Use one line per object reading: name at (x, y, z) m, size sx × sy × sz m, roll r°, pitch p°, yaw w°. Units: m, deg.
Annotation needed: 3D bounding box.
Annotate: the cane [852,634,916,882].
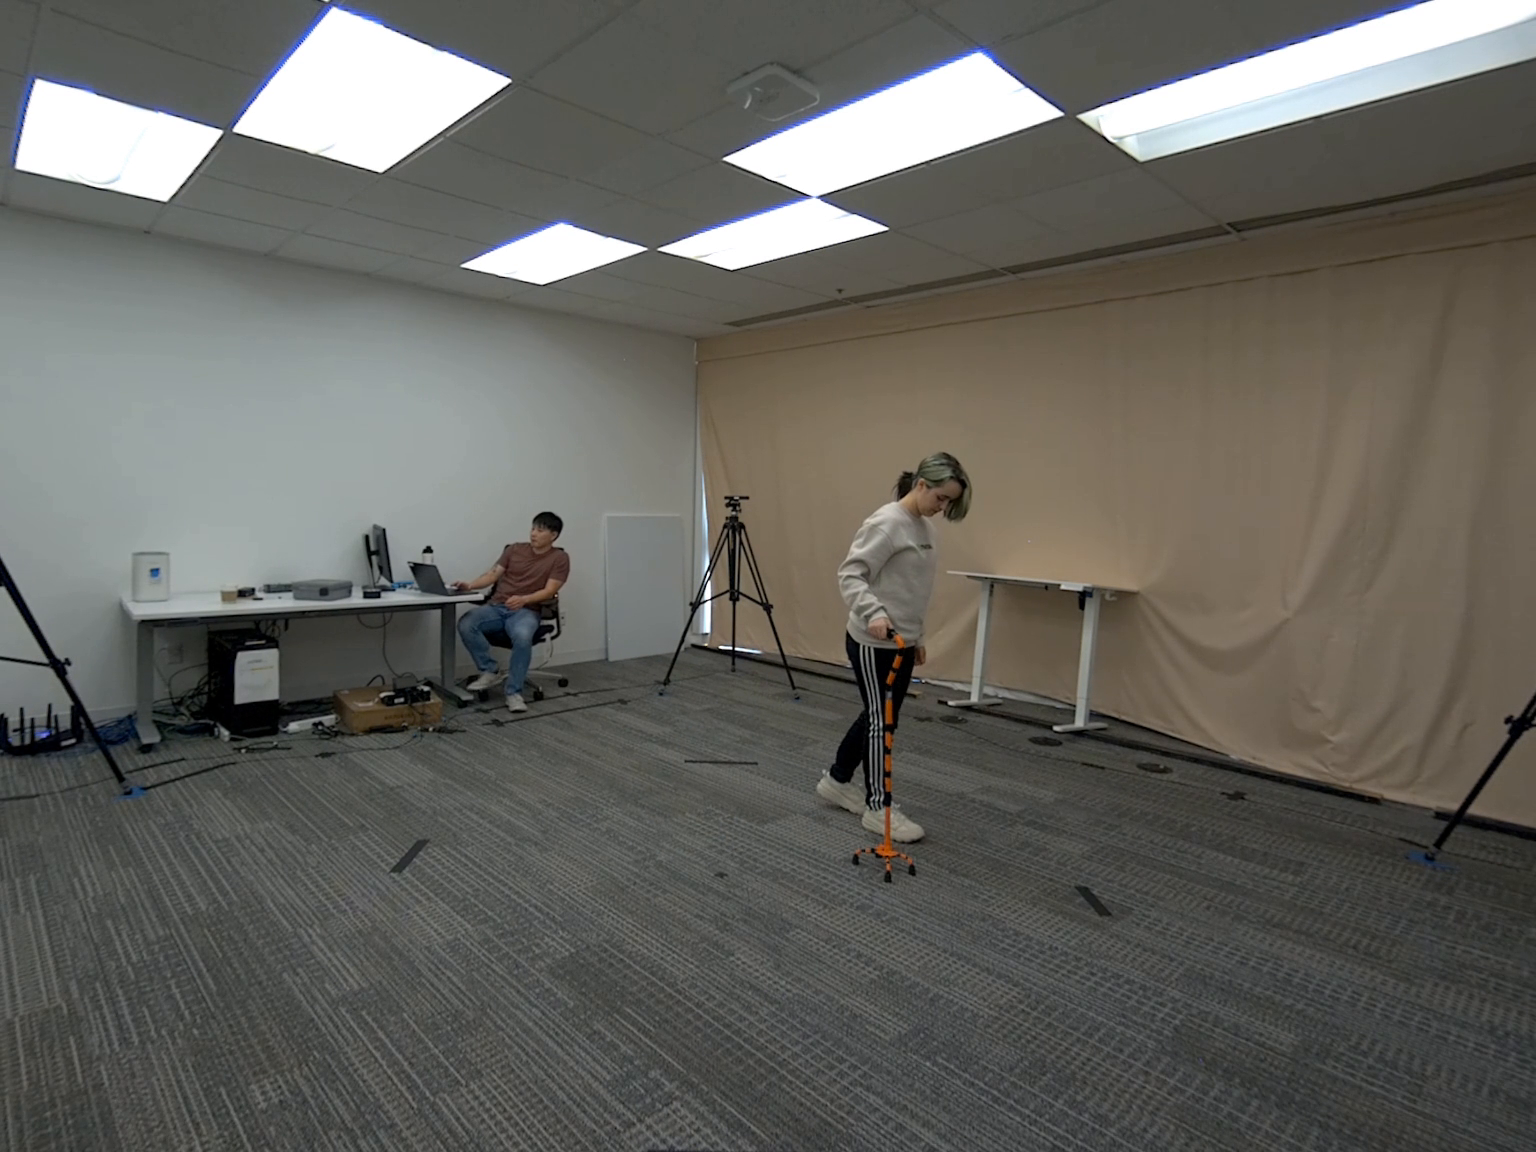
cane at (0.436, 0.656, 3.165) m, size 0.148 × 0.905 × 0.212 m, roll -1°, pitch 5°, yaw -36°
